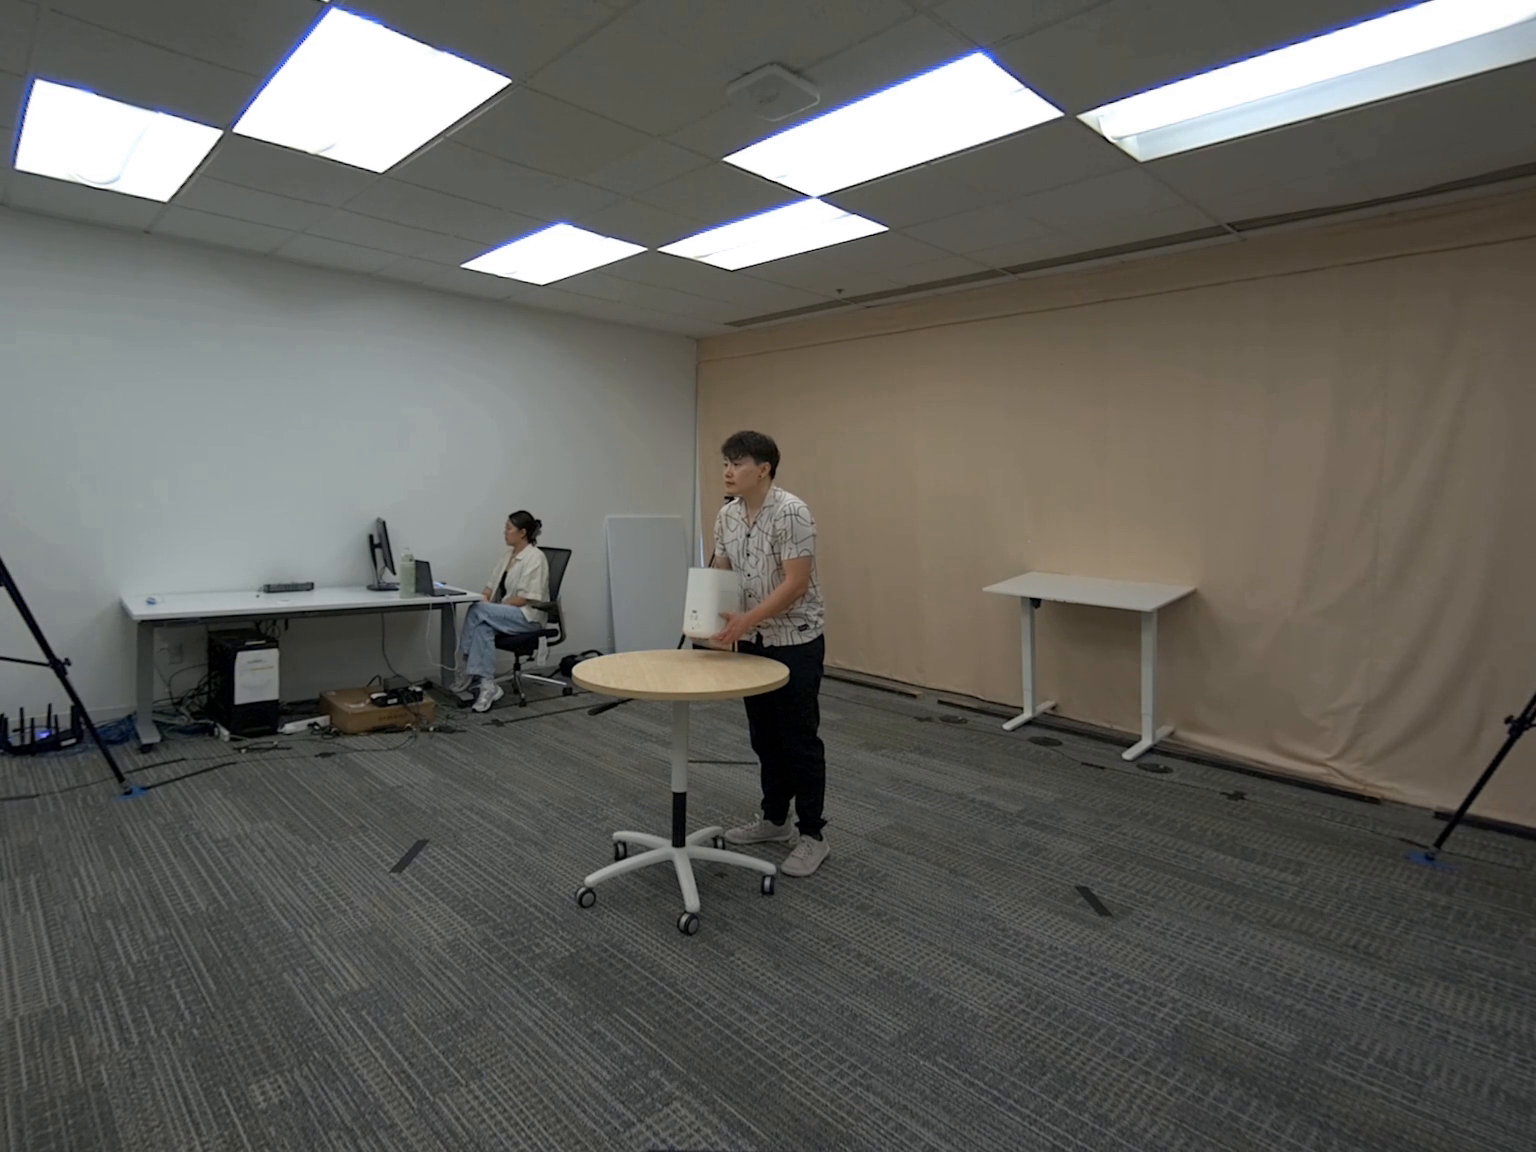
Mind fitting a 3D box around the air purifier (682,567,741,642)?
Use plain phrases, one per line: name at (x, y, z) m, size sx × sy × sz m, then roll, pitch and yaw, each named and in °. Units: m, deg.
air purifier at (-0.220, 0.110, 3.211) m, size 0.175 × 0.266 × 0.167 m, roll -1°, pitch -8°, yaw 40°
